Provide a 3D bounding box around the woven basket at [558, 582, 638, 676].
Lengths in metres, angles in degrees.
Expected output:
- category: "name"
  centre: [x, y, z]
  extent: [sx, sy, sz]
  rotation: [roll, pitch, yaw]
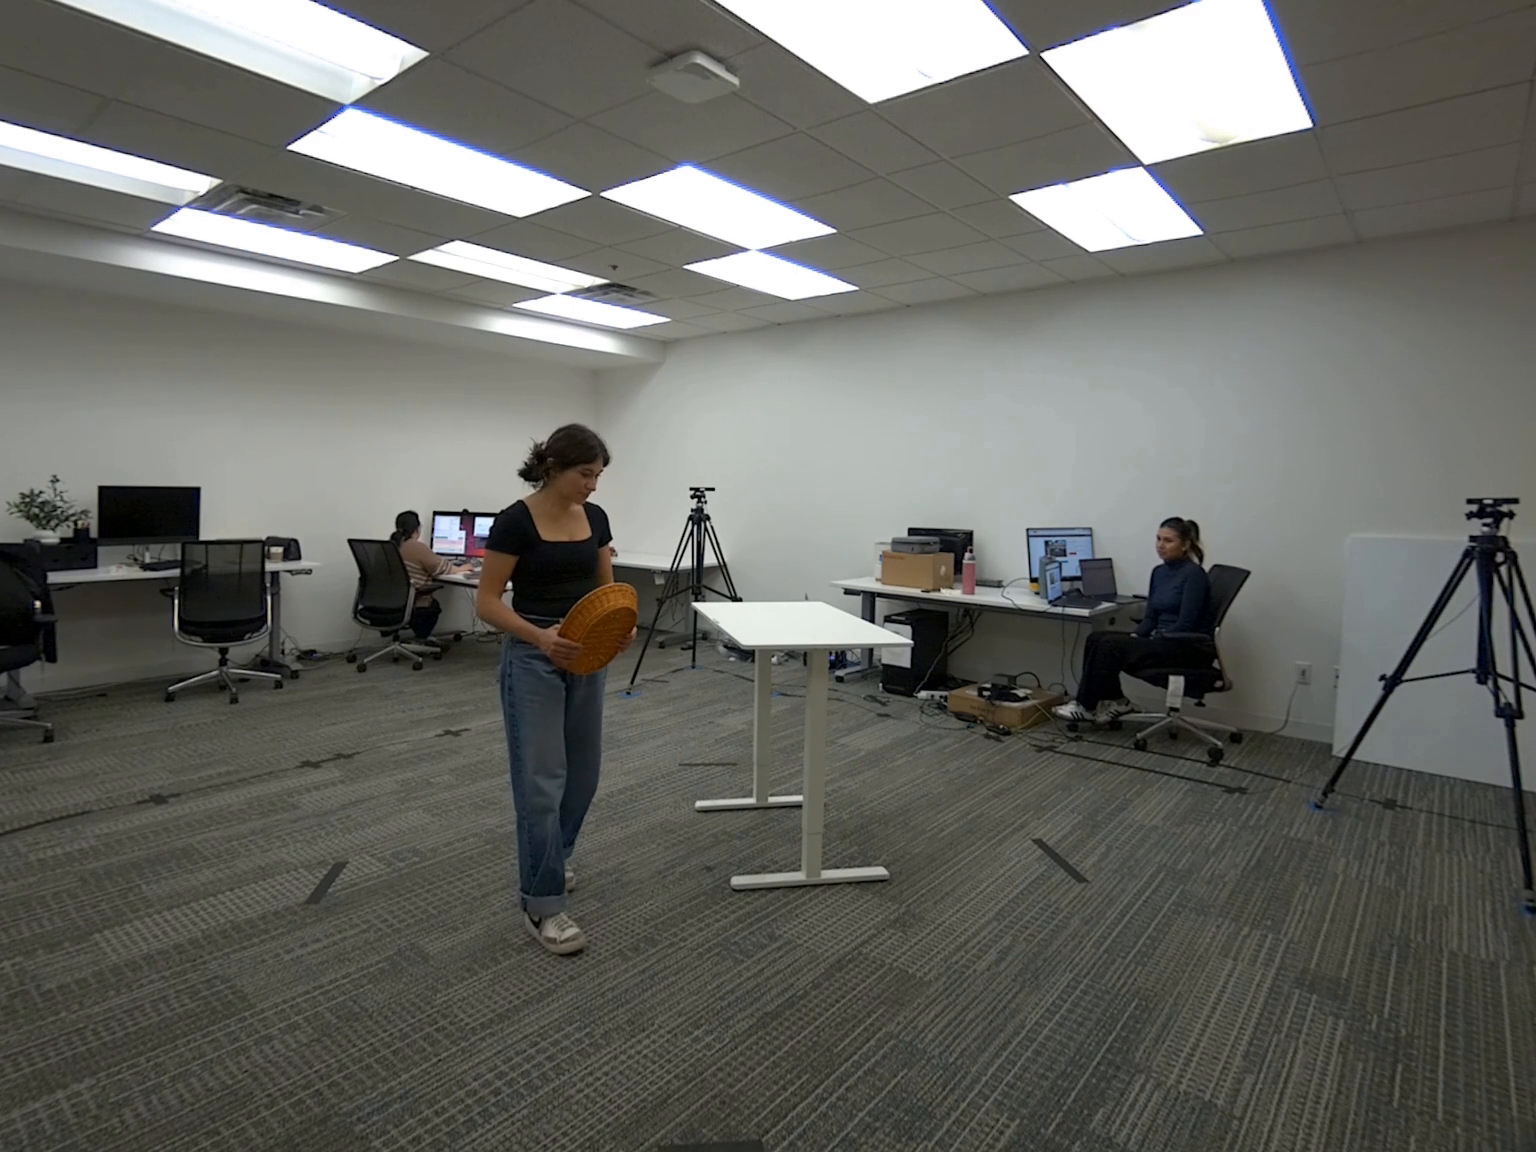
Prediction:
- category: "woven basket"
  centre: [-0.517, 0.170, 2.525]
  extent: [0.245, 0.348, 0.076]
  rotation: [-6, 45, -49]
